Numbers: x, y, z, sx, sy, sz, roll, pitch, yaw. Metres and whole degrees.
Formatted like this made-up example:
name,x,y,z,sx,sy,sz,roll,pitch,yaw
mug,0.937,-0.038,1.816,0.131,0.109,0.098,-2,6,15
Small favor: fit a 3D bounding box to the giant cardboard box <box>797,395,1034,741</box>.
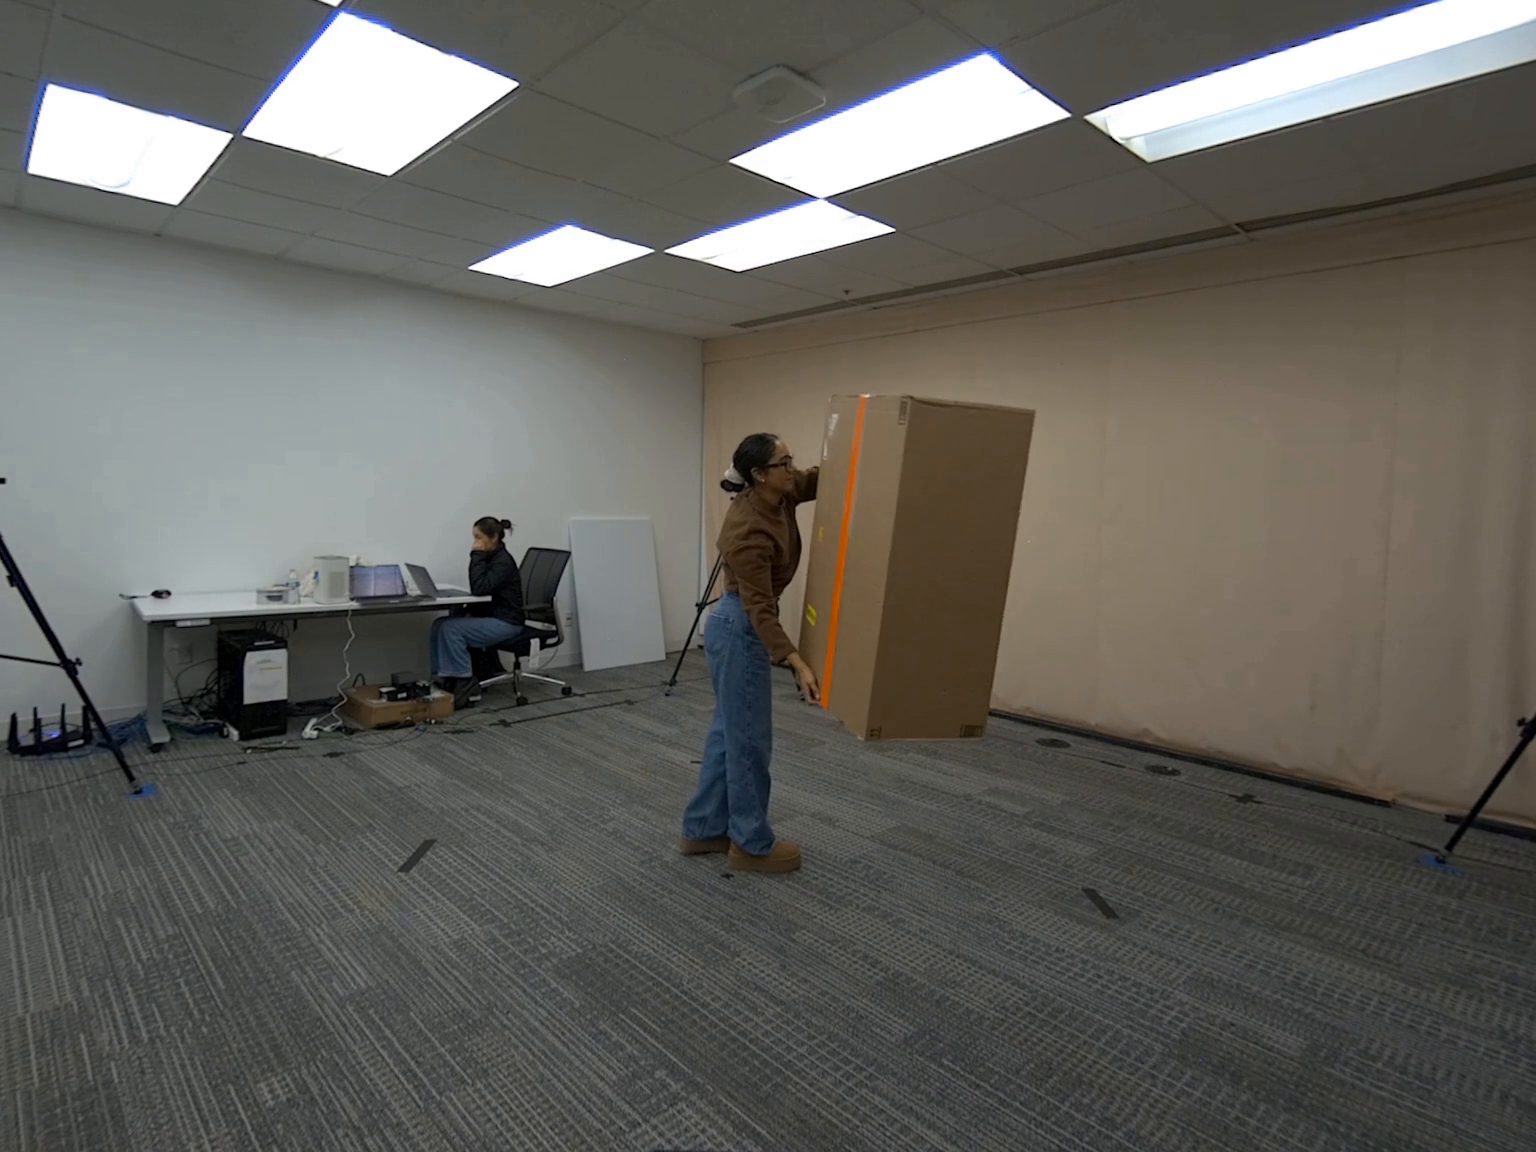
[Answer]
name,x,y,z,sx,sy,sz,roll,pitch,yaw
giant cardboard box,0.436,-0.053,2.744,0.420,1.020,0.589,4,8,-19
